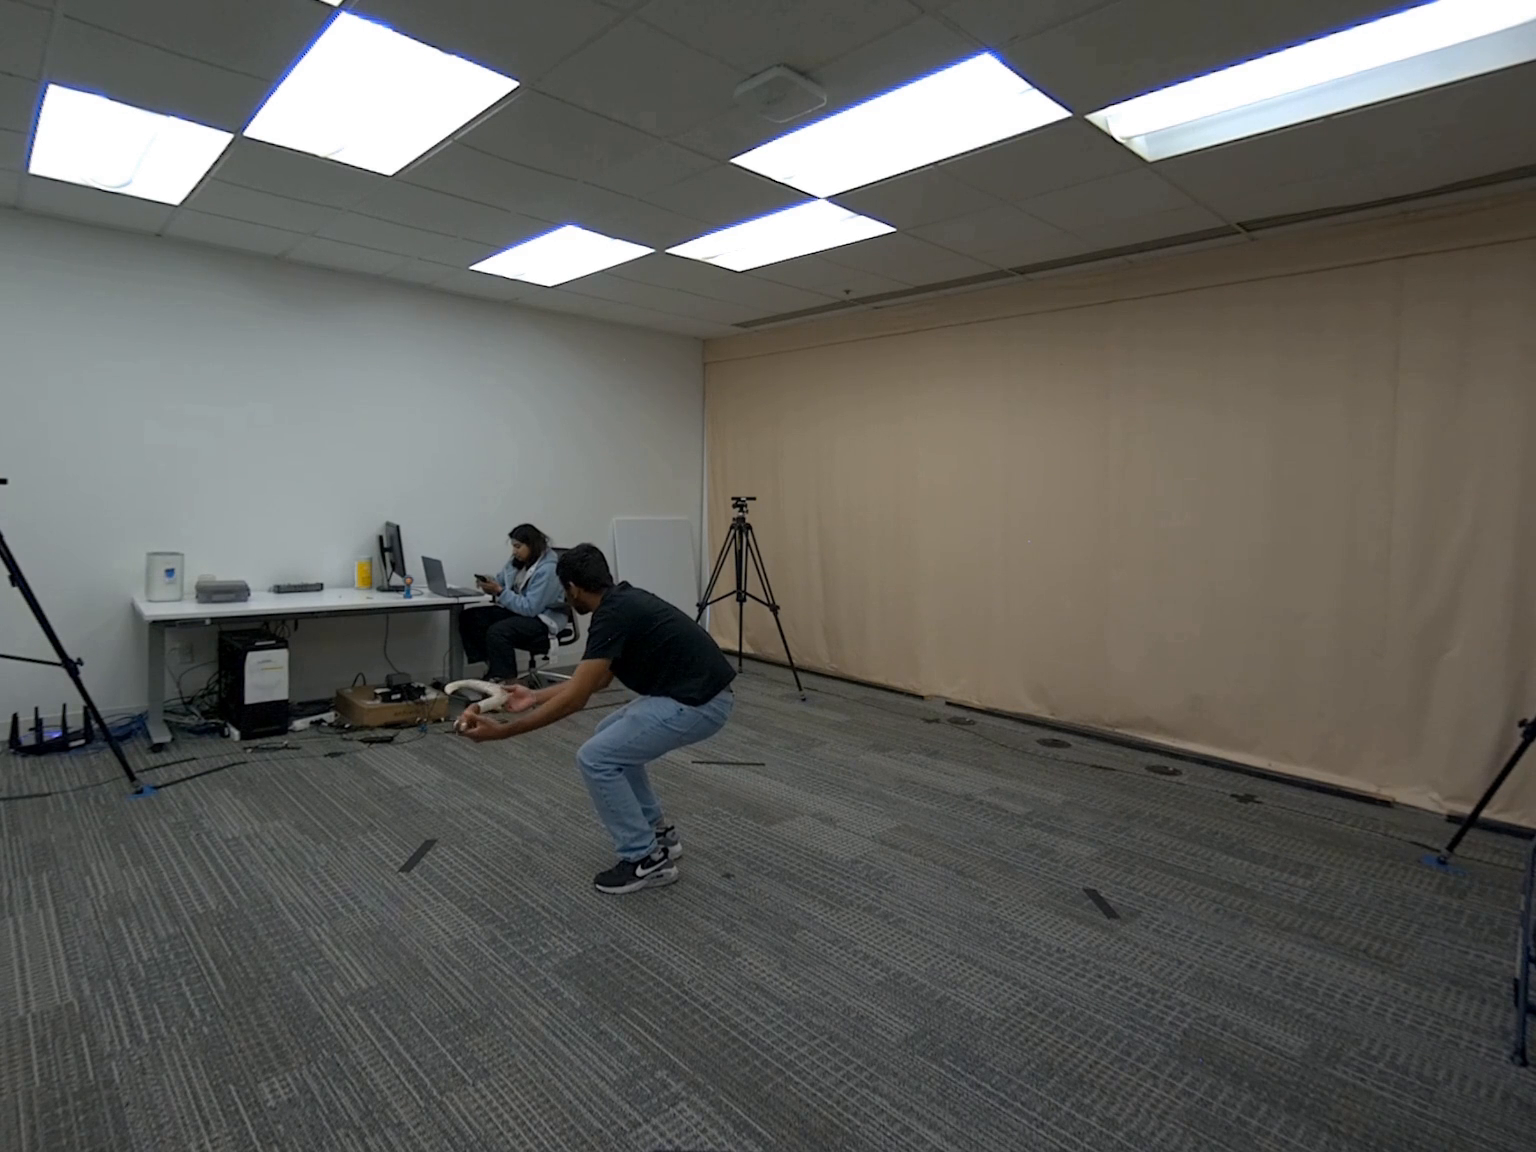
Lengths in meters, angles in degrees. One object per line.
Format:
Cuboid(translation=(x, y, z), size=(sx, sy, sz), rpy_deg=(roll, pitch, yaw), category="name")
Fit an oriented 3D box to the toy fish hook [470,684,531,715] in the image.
Cuboid(translation=(-1.051, 0.453, 2.997), size=(0.224, 0.048, 0.508), rpy_deg=(10, 6, -2), category="toy fish hook")
